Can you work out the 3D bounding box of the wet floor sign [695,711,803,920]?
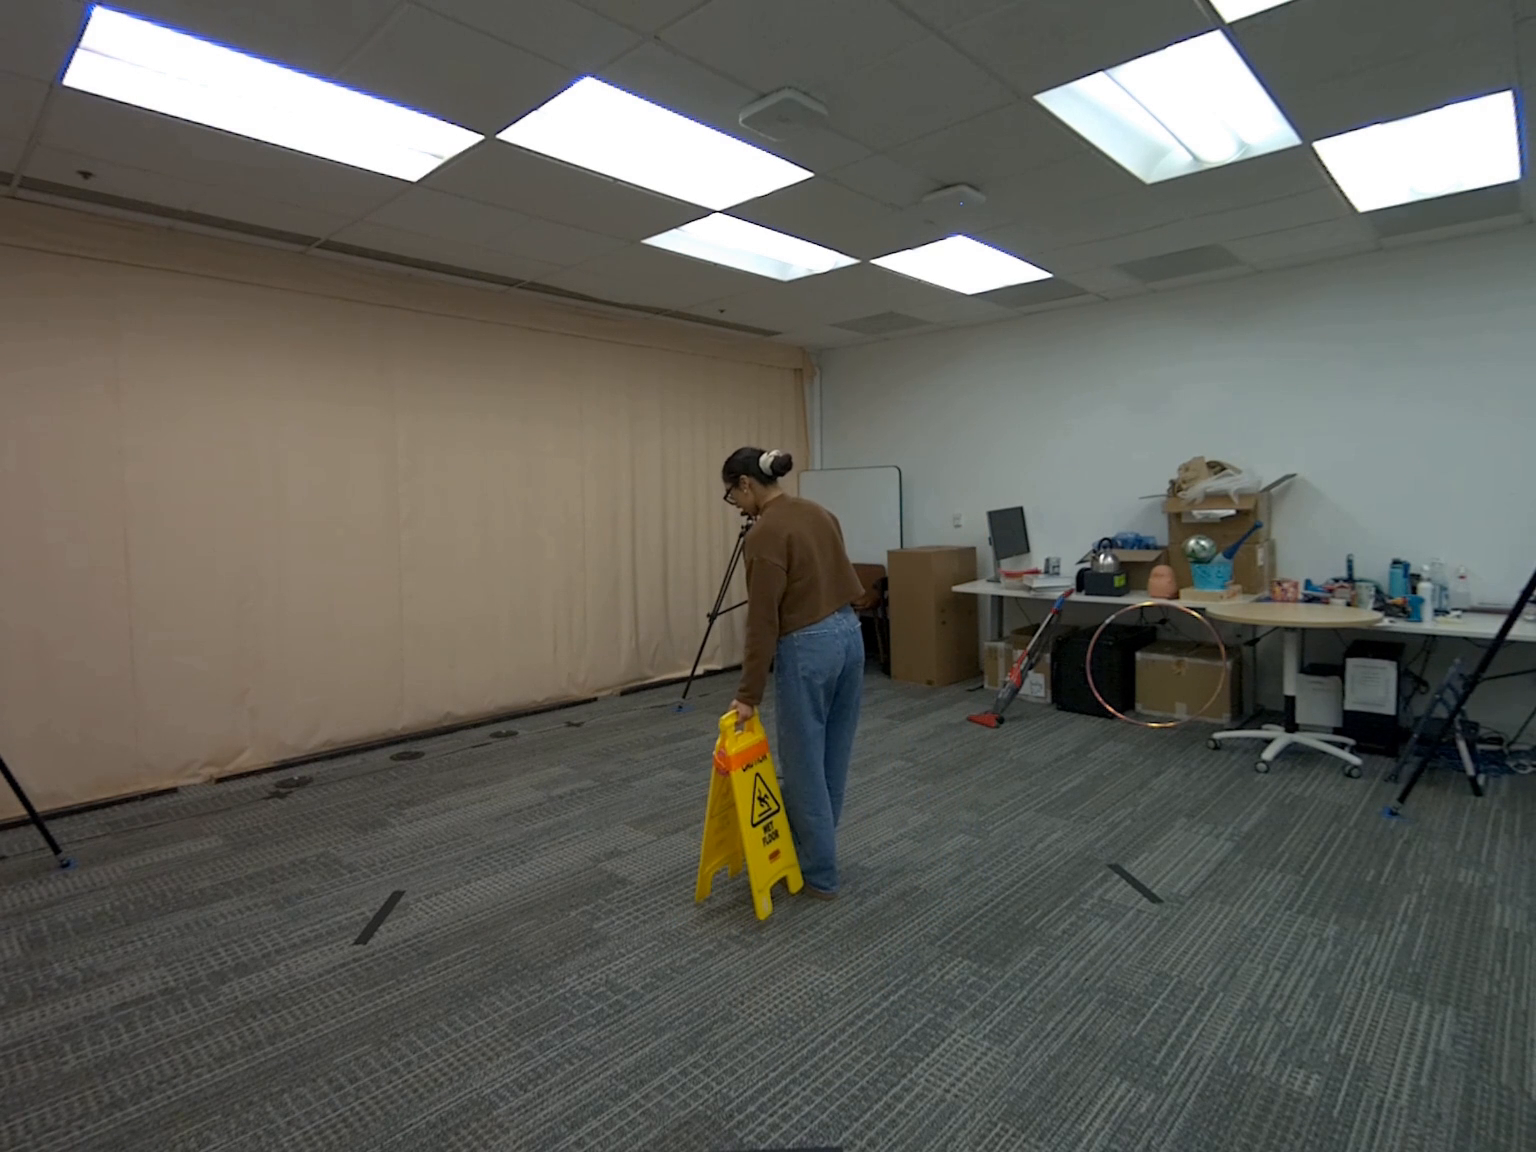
[{"bbox_3d":[-0.080,0.780,2.879,0.298,0.643,0.275,1,7,34],"label":"wet floor sign"}]
